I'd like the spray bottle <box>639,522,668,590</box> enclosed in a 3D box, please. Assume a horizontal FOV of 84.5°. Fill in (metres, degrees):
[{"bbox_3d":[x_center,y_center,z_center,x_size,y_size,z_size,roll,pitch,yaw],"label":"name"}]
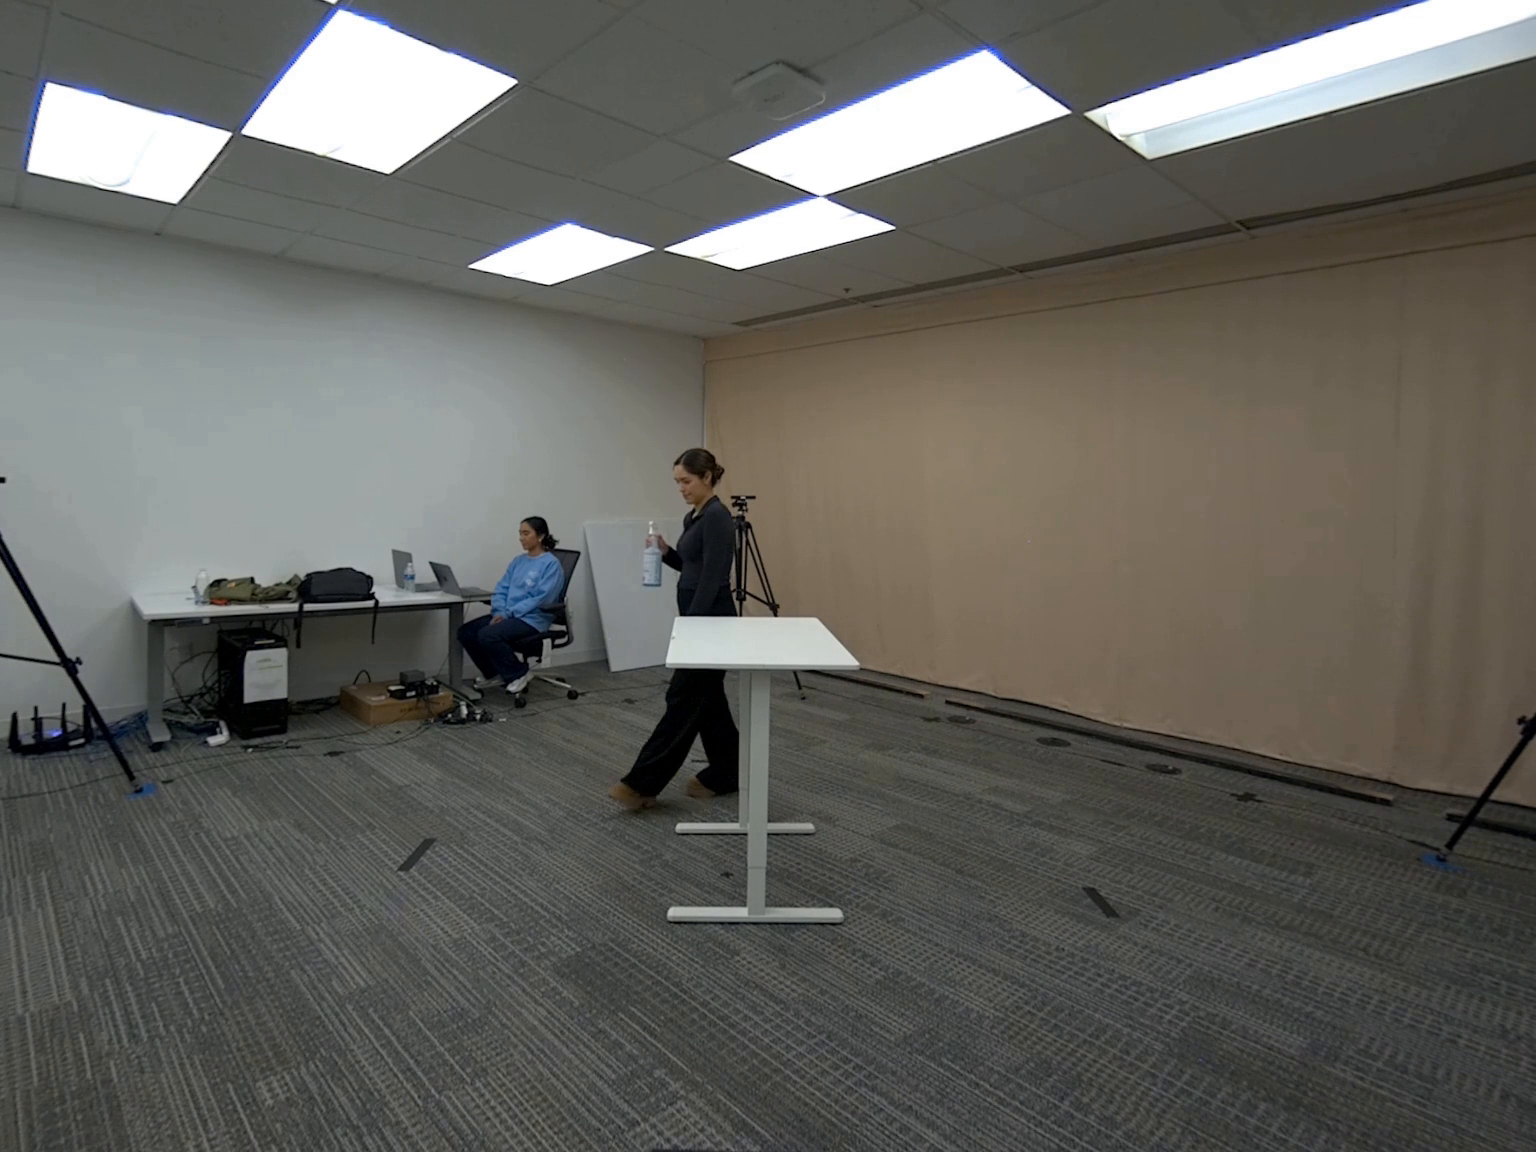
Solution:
[{"bbox_3d":[-0.522,-0.096,3.854,0.089,0.297,0.088,2,3,34],"label":"spray bottle"}]
